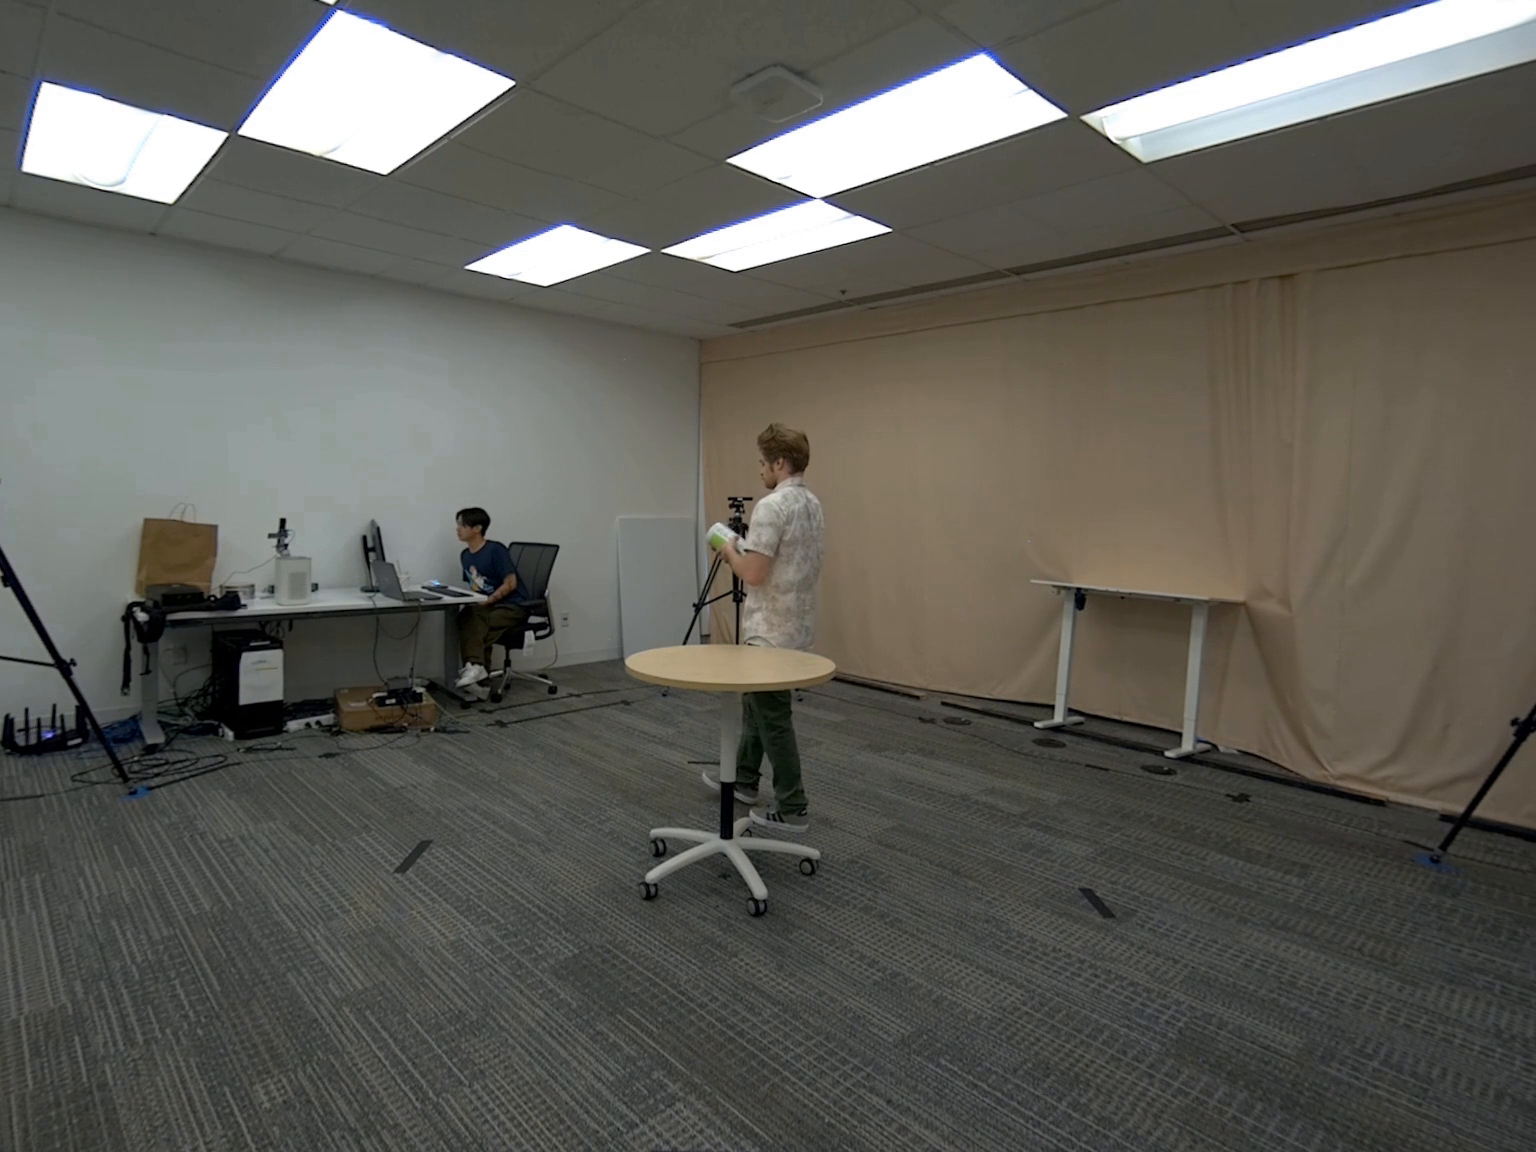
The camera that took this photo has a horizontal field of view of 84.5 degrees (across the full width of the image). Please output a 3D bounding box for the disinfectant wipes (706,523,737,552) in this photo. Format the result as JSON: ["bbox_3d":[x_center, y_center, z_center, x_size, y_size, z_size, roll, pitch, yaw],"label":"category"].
[{"bbox_3d":[-0.169,-0.139,3.708,0.221,0.117,0.116,34,13,15],"label":"disinfectant wipes"}]
